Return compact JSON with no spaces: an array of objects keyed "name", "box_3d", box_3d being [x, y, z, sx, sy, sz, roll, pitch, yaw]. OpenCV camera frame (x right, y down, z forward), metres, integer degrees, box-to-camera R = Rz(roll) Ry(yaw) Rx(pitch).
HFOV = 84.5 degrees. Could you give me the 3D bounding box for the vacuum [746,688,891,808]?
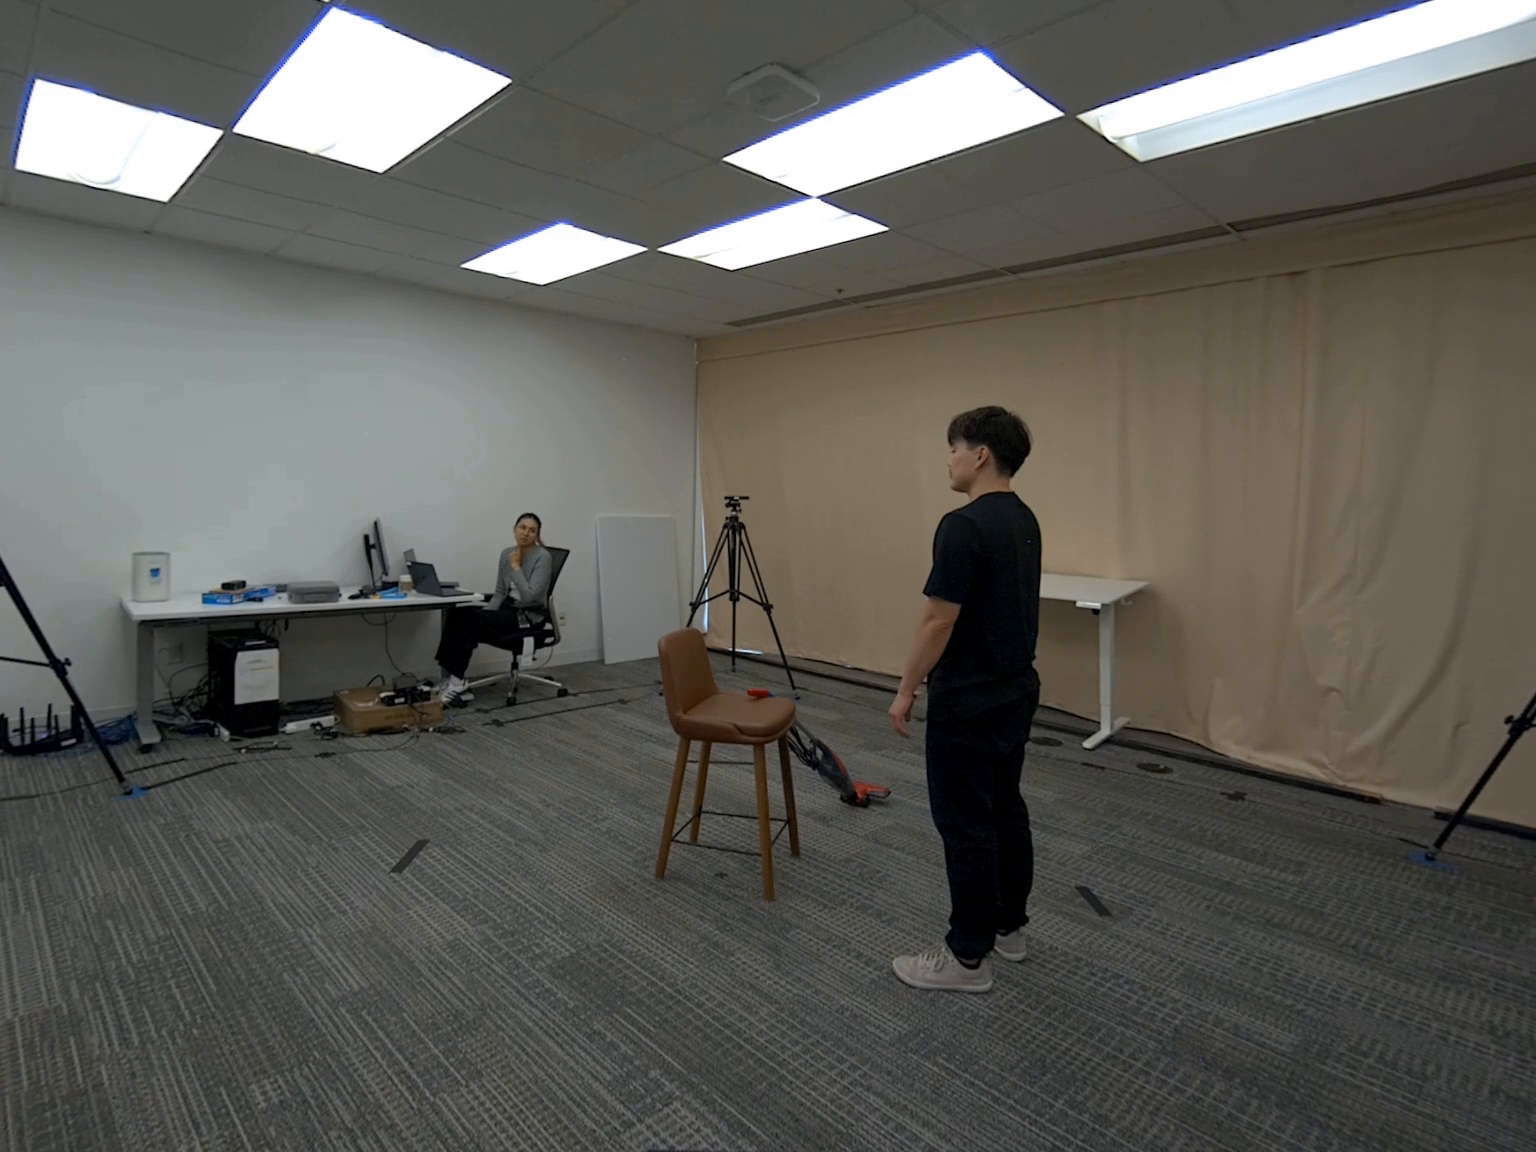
[{"name":"vacuum","box_3d":[0.176,0.742,3.602,0.259,0.145,1.016,2,-32,39]}]
